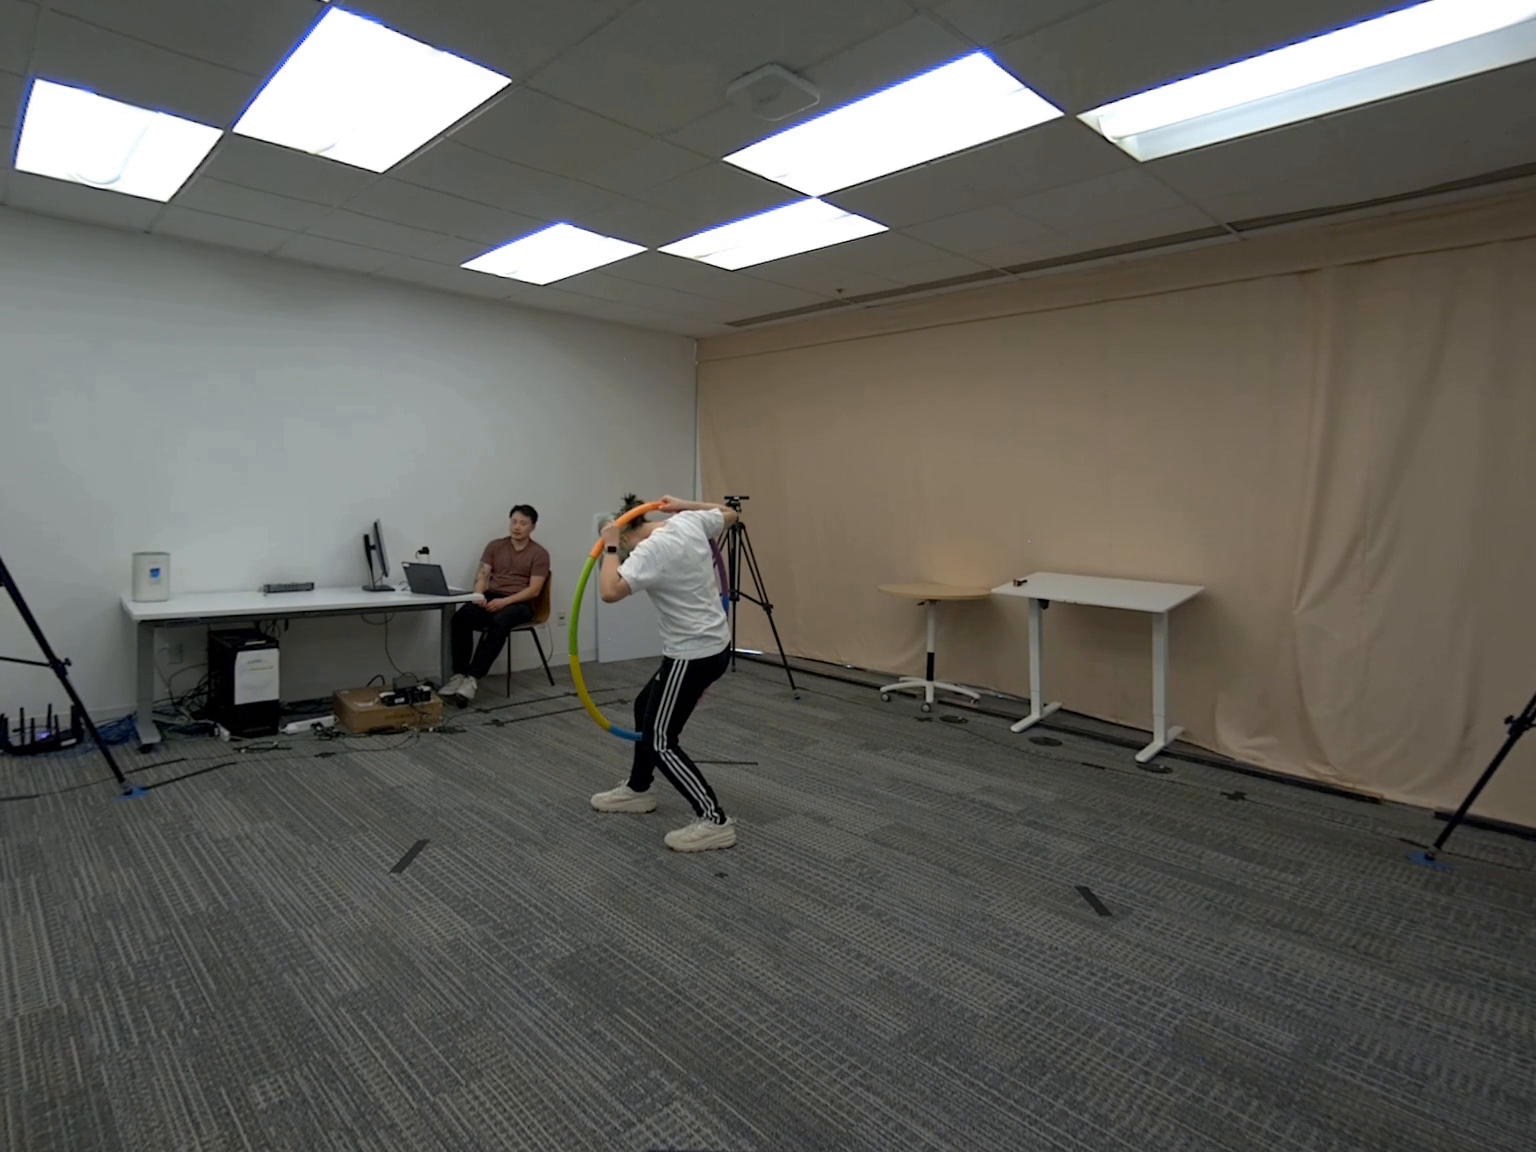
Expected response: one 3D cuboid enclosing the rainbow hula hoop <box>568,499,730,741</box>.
[{"bbox_3d":[-0.469,0.190,3.521,0.036,0.975,0.958,6,6,35],"label":"rainbow hula hoop"}]
